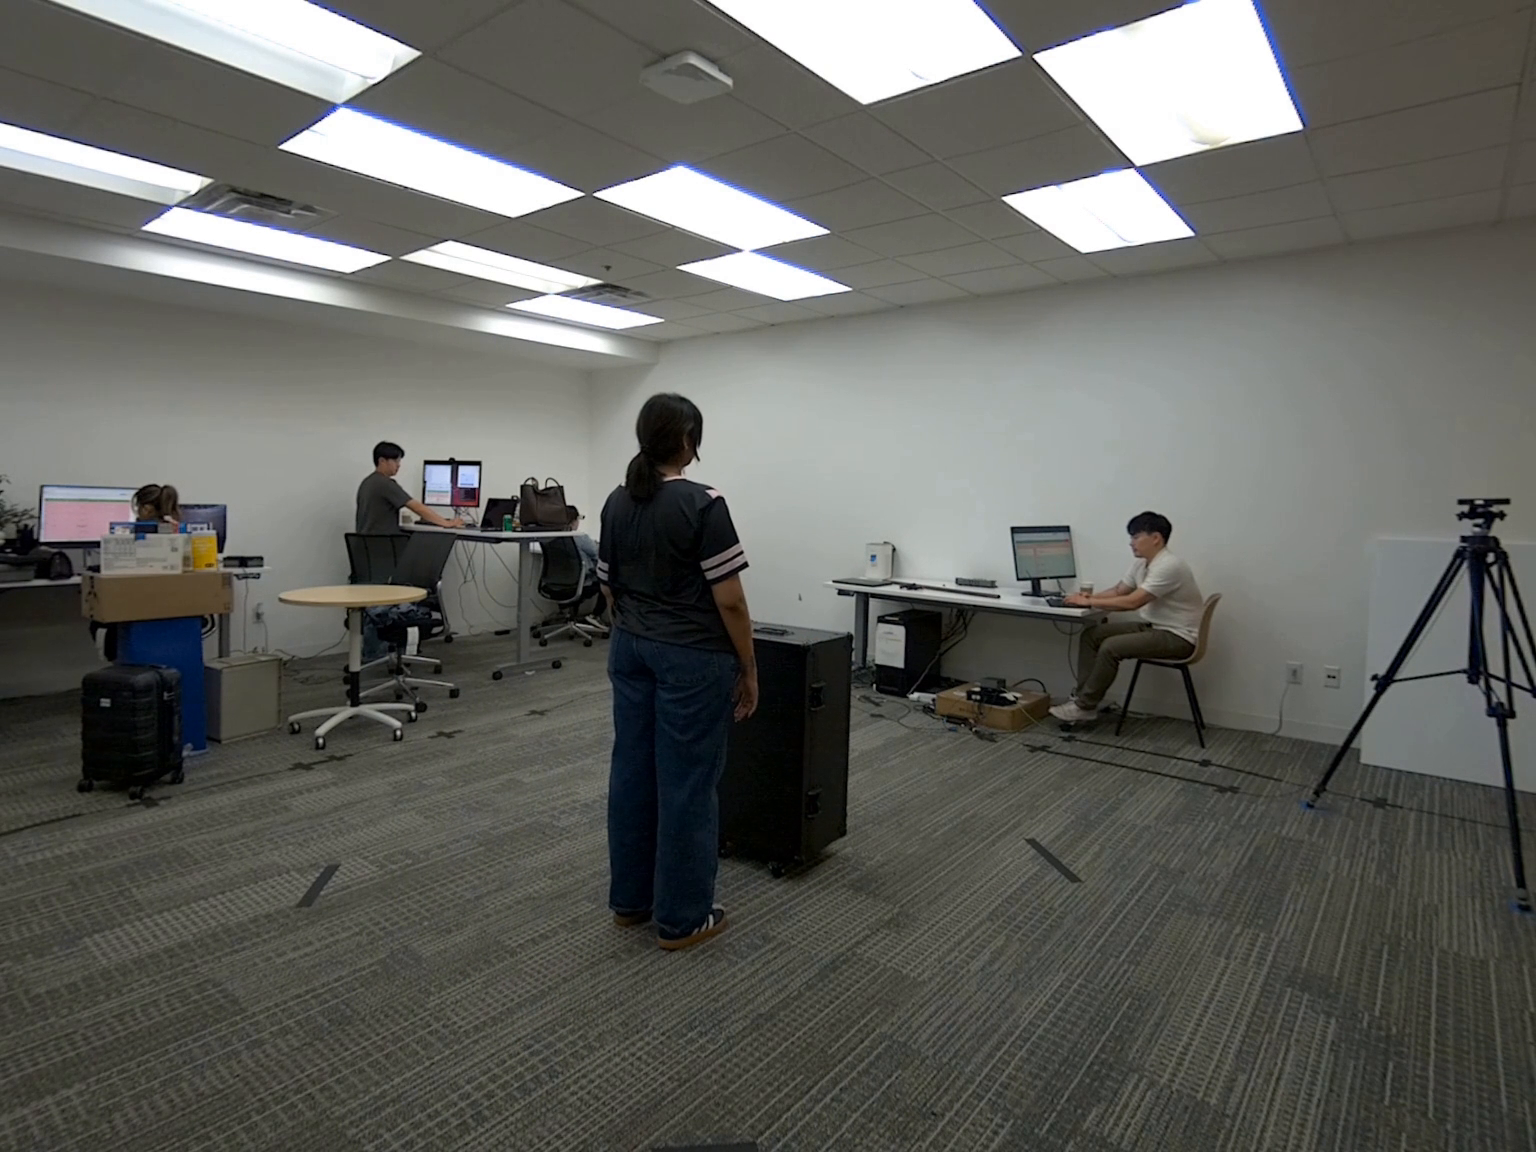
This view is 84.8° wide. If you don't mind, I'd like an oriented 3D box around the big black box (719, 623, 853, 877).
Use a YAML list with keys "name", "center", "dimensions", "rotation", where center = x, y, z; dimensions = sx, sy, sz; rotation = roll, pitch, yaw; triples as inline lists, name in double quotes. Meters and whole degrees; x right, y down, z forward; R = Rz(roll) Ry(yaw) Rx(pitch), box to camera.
- name: "big black box"
  center: [0.007, 0.638, 3.272]
  dimensions: [0.540, 0.867, 0.374]
  rotation: [4, 3, 34]
